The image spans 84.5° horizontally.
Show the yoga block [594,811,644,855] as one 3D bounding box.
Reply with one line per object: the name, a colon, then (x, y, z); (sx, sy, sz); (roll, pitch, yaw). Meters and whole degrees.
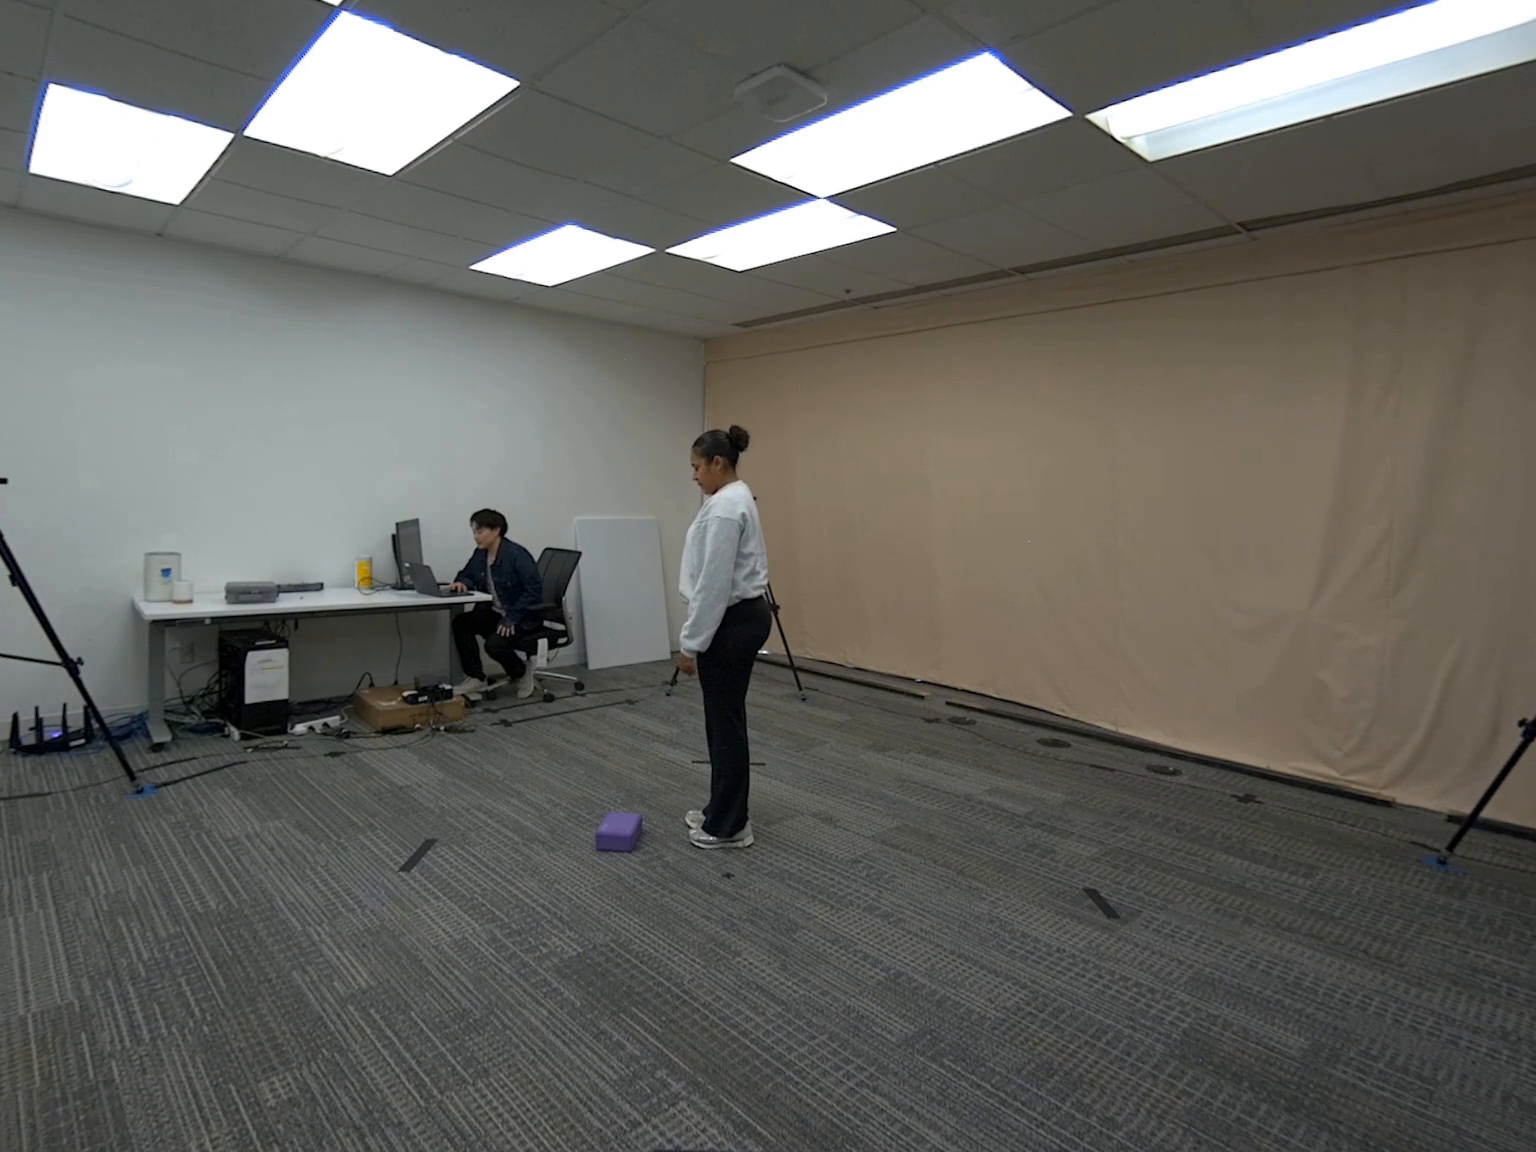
yoga block: (-0.607, 1.031, 3.398); (0.149, 0.076, 0.229); (2, 6, 4)
